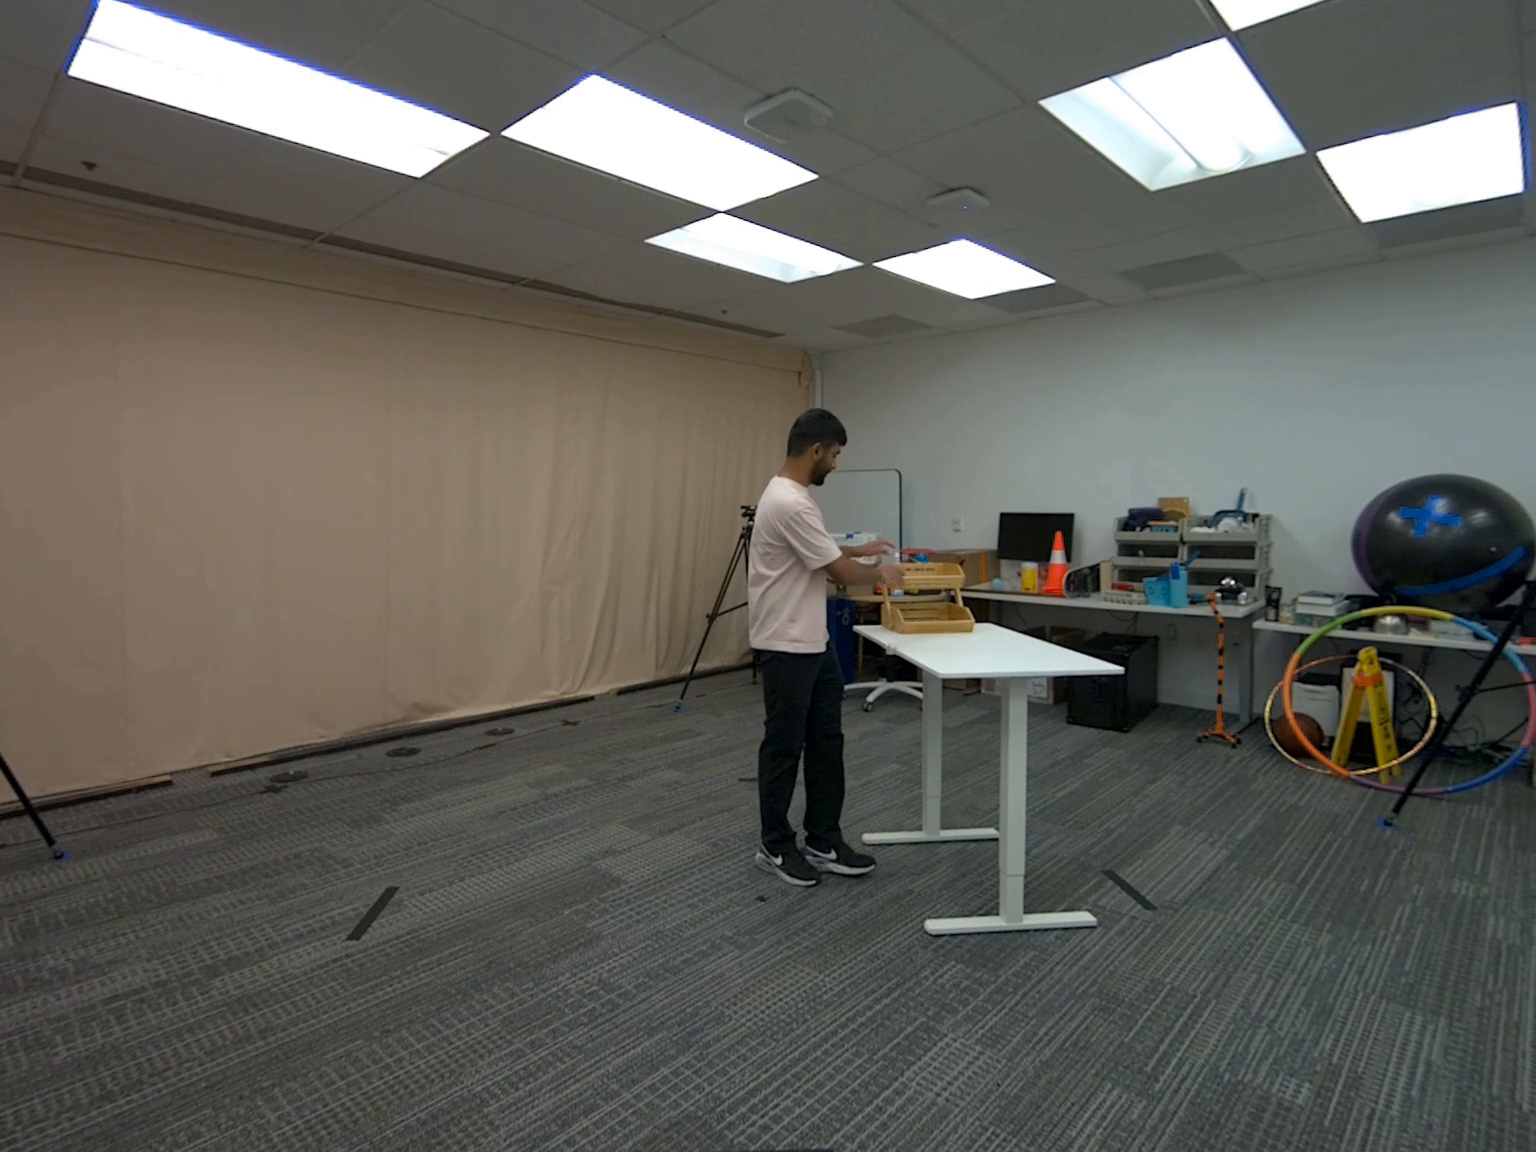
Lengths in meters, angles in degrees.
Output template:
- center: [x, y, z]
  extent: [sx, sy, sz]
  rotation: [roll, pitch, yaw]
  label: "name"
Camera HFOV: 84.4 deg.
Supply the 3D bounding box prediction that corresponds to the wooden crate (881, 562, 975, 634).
- center: [0.646, 0.083, 3.465]
  extent: [0.321, 0.273, 0.305]
  rotation: [1, 2, -10]
  label: "wooden crate"
